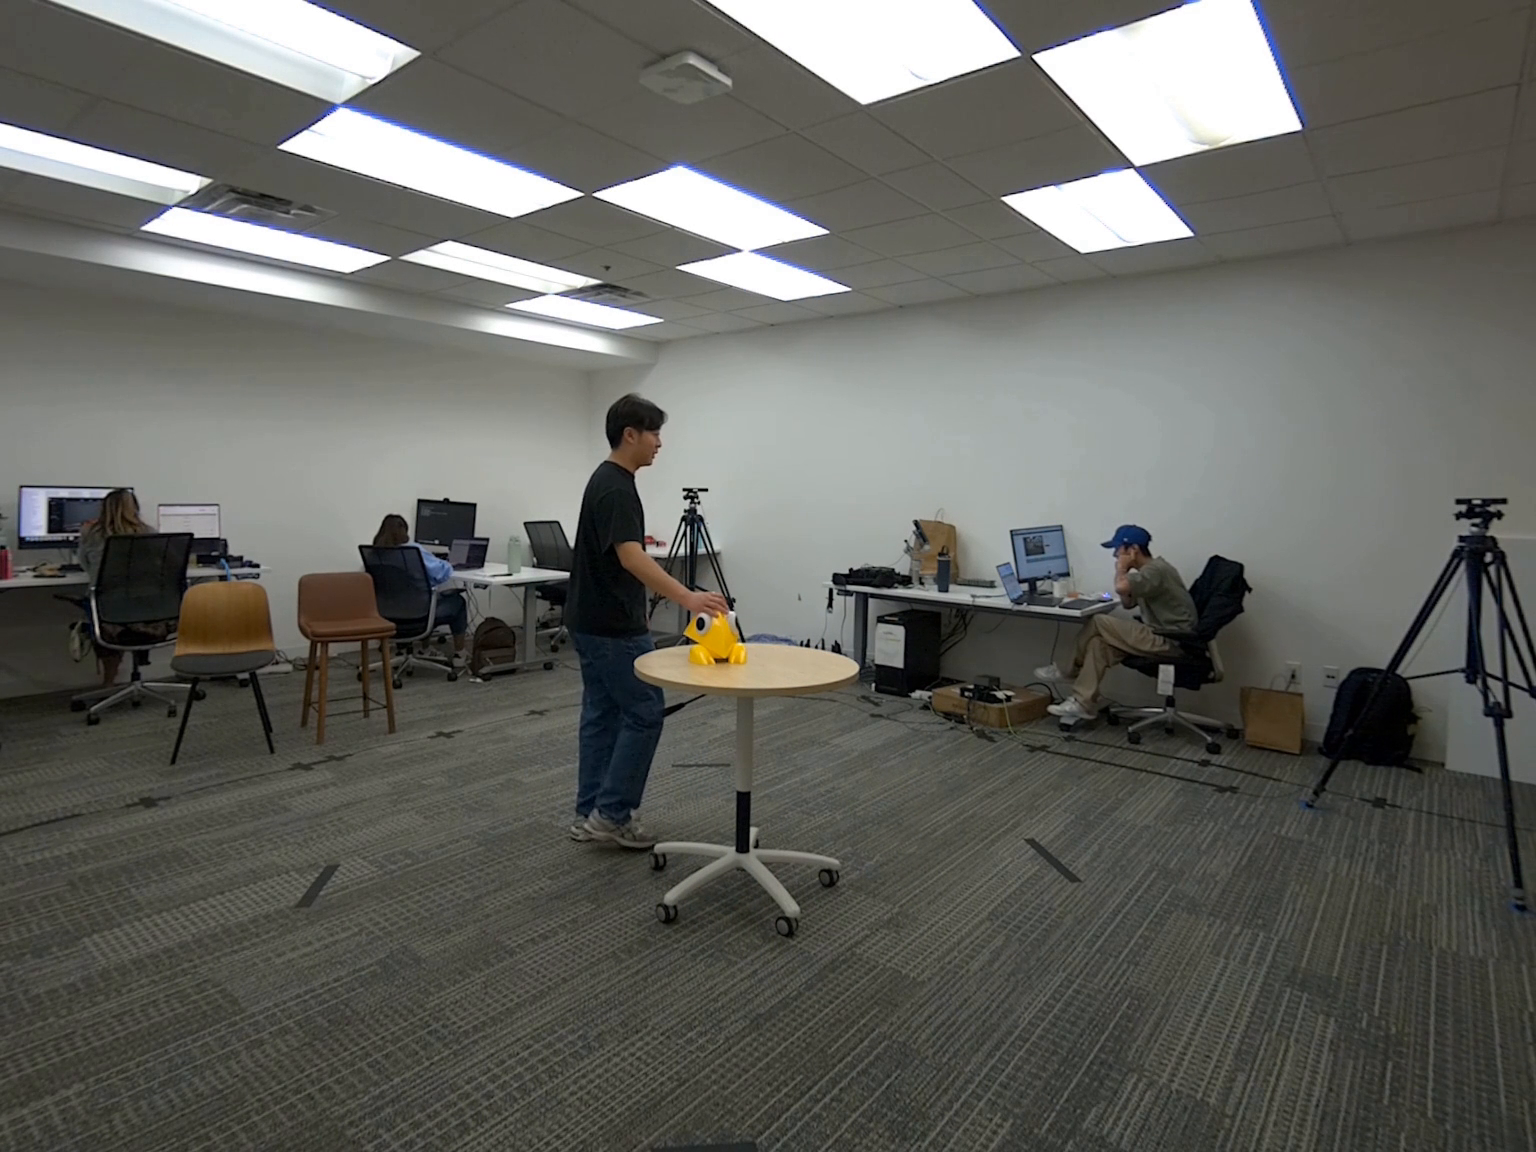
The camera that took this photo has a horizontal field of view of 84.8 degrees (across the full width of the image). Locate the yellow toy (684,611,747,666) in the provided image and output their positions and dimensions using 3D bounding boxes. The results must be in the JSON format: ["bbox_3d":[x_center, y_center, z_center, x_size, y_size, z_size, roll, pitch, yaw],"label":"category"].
[{"bbox_3d":[-0.179,0.175,2.953,0.201,0.230,0.197,1,3,-17],"label":"yellow toy"}]
